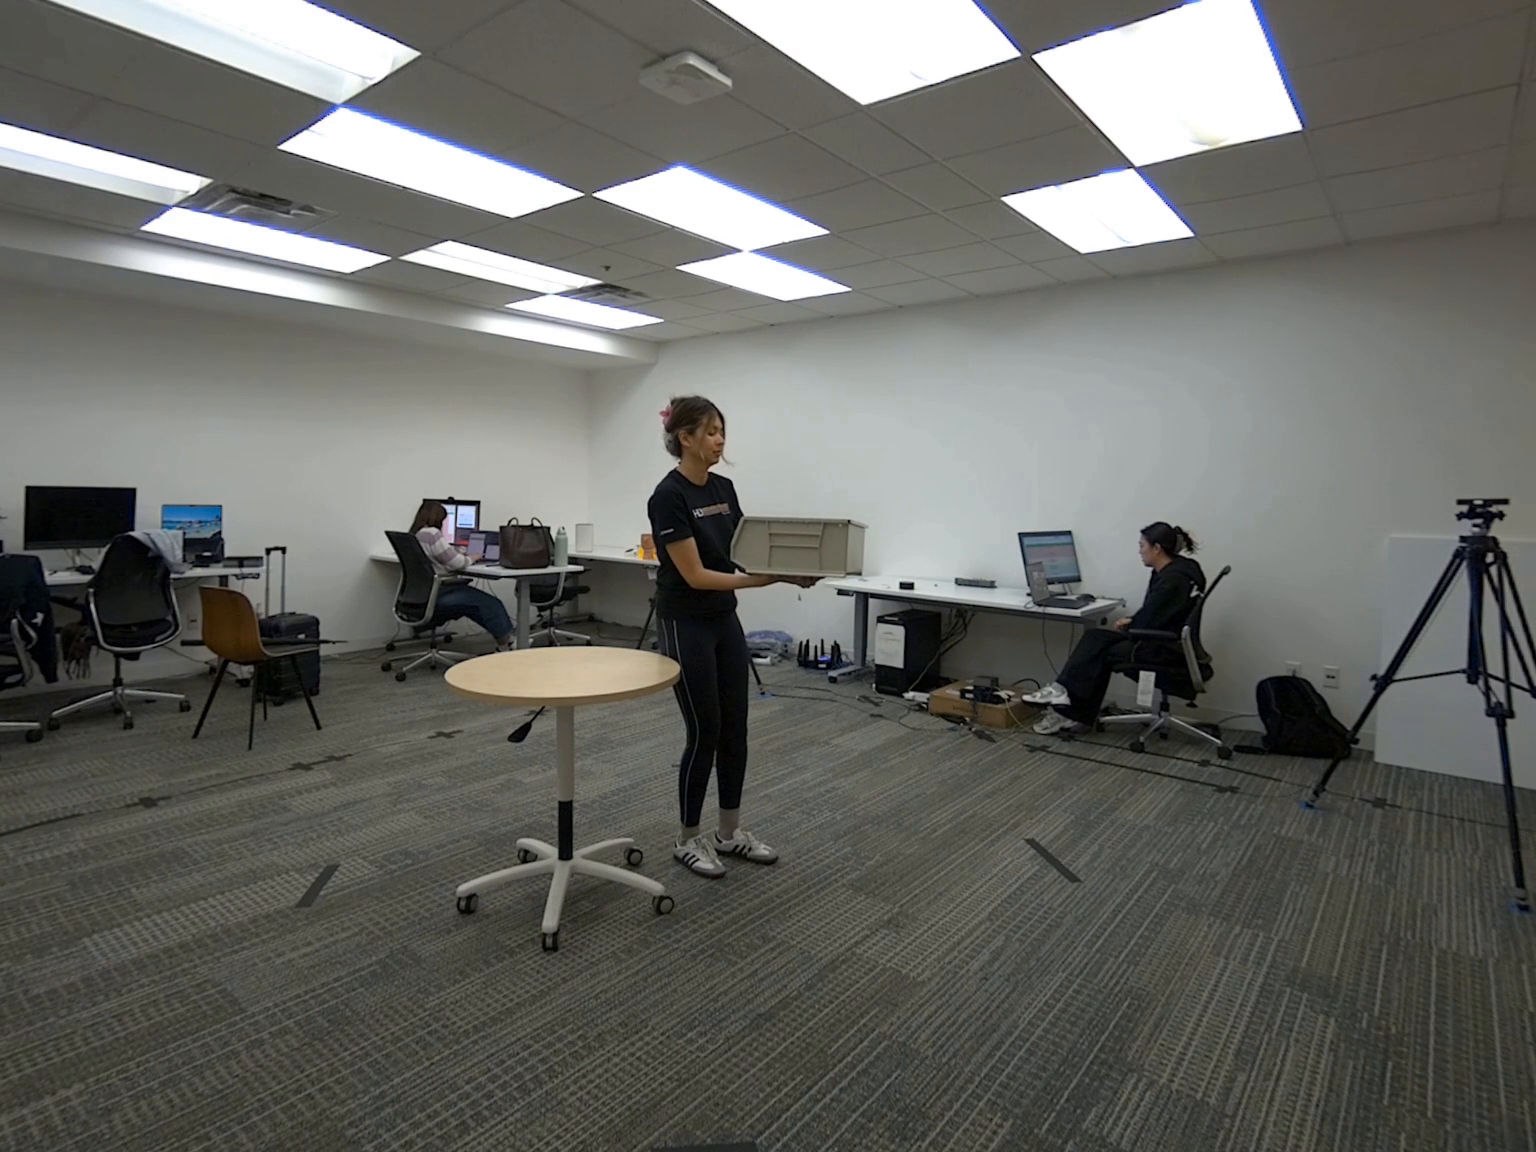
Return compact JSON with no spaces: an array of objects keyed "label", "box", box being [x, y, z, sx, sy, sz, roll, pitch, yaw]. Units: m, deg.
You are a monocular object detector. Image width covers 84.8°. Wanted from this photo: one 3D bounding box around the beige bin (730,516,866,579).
[{"label":"beige bin","box":[0.106,-0.092,2.826,0.384,0.189,0.414,4,1,16]}]
